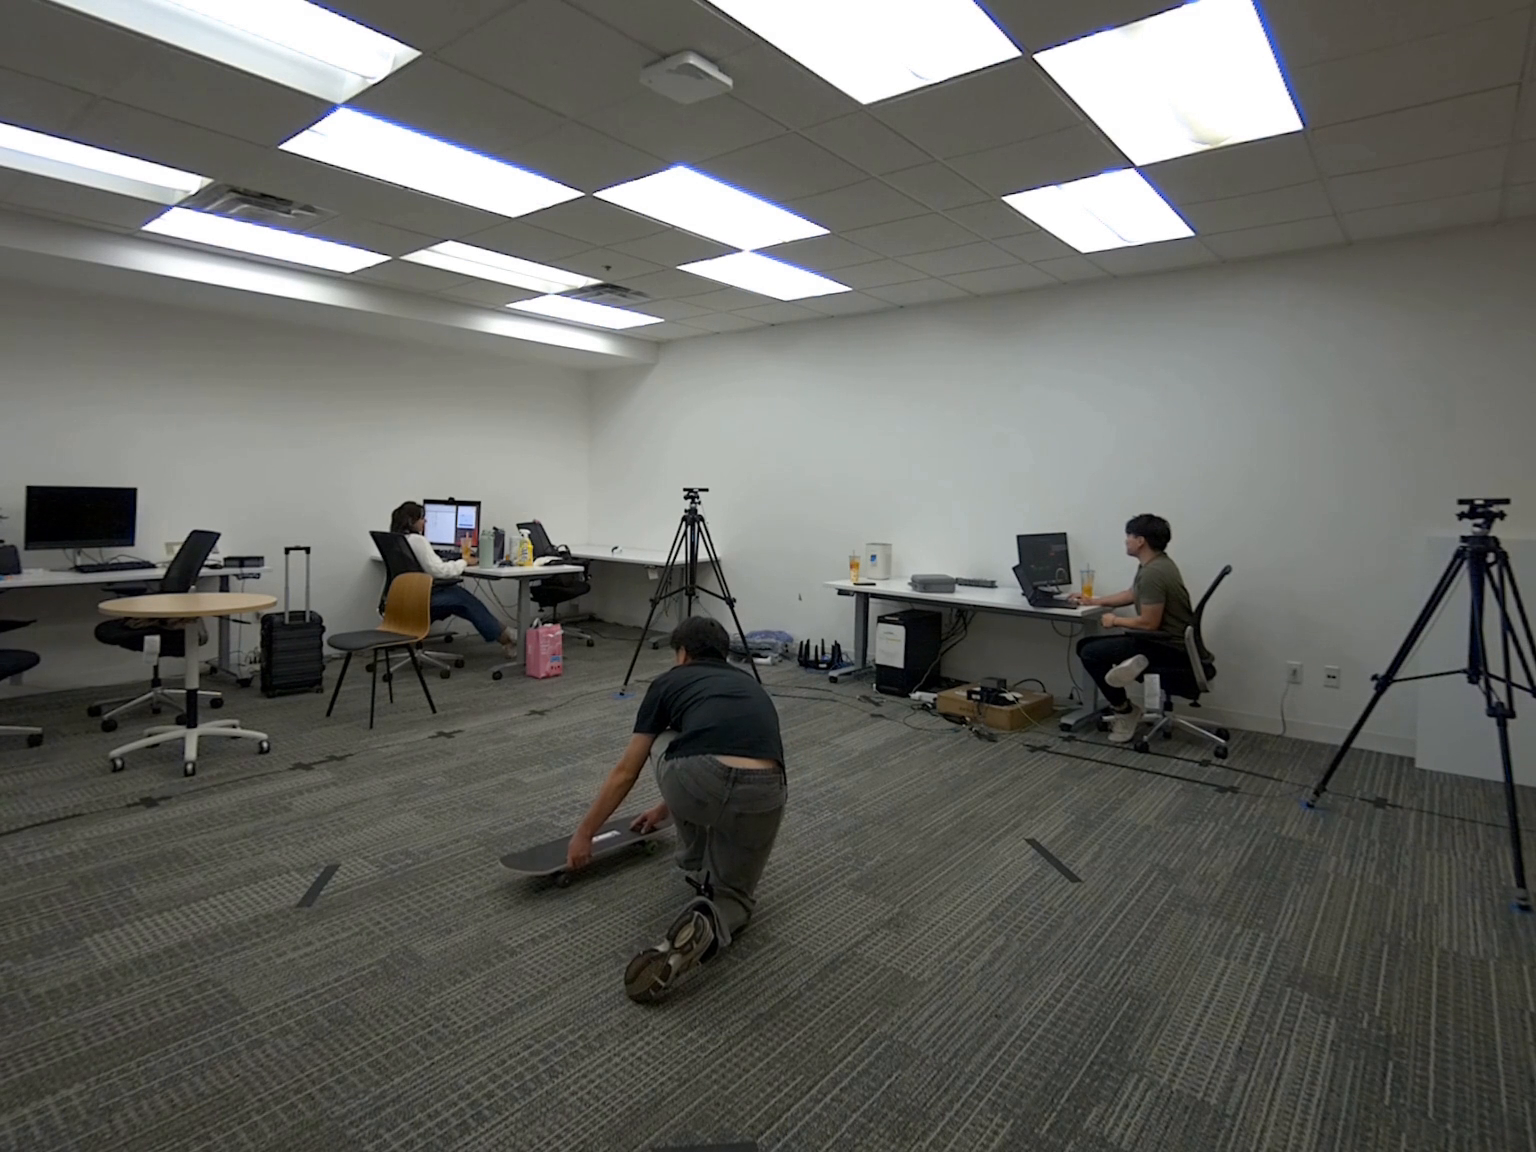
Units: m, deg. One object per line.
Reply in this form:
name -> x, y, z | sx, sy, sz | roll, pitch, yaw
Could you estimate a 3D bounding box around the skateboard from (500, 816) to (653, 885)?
skateboard -> -0.636, 0.999, 3.137 | 0.200, 0.110, 0.762 | 5, 7, 42
